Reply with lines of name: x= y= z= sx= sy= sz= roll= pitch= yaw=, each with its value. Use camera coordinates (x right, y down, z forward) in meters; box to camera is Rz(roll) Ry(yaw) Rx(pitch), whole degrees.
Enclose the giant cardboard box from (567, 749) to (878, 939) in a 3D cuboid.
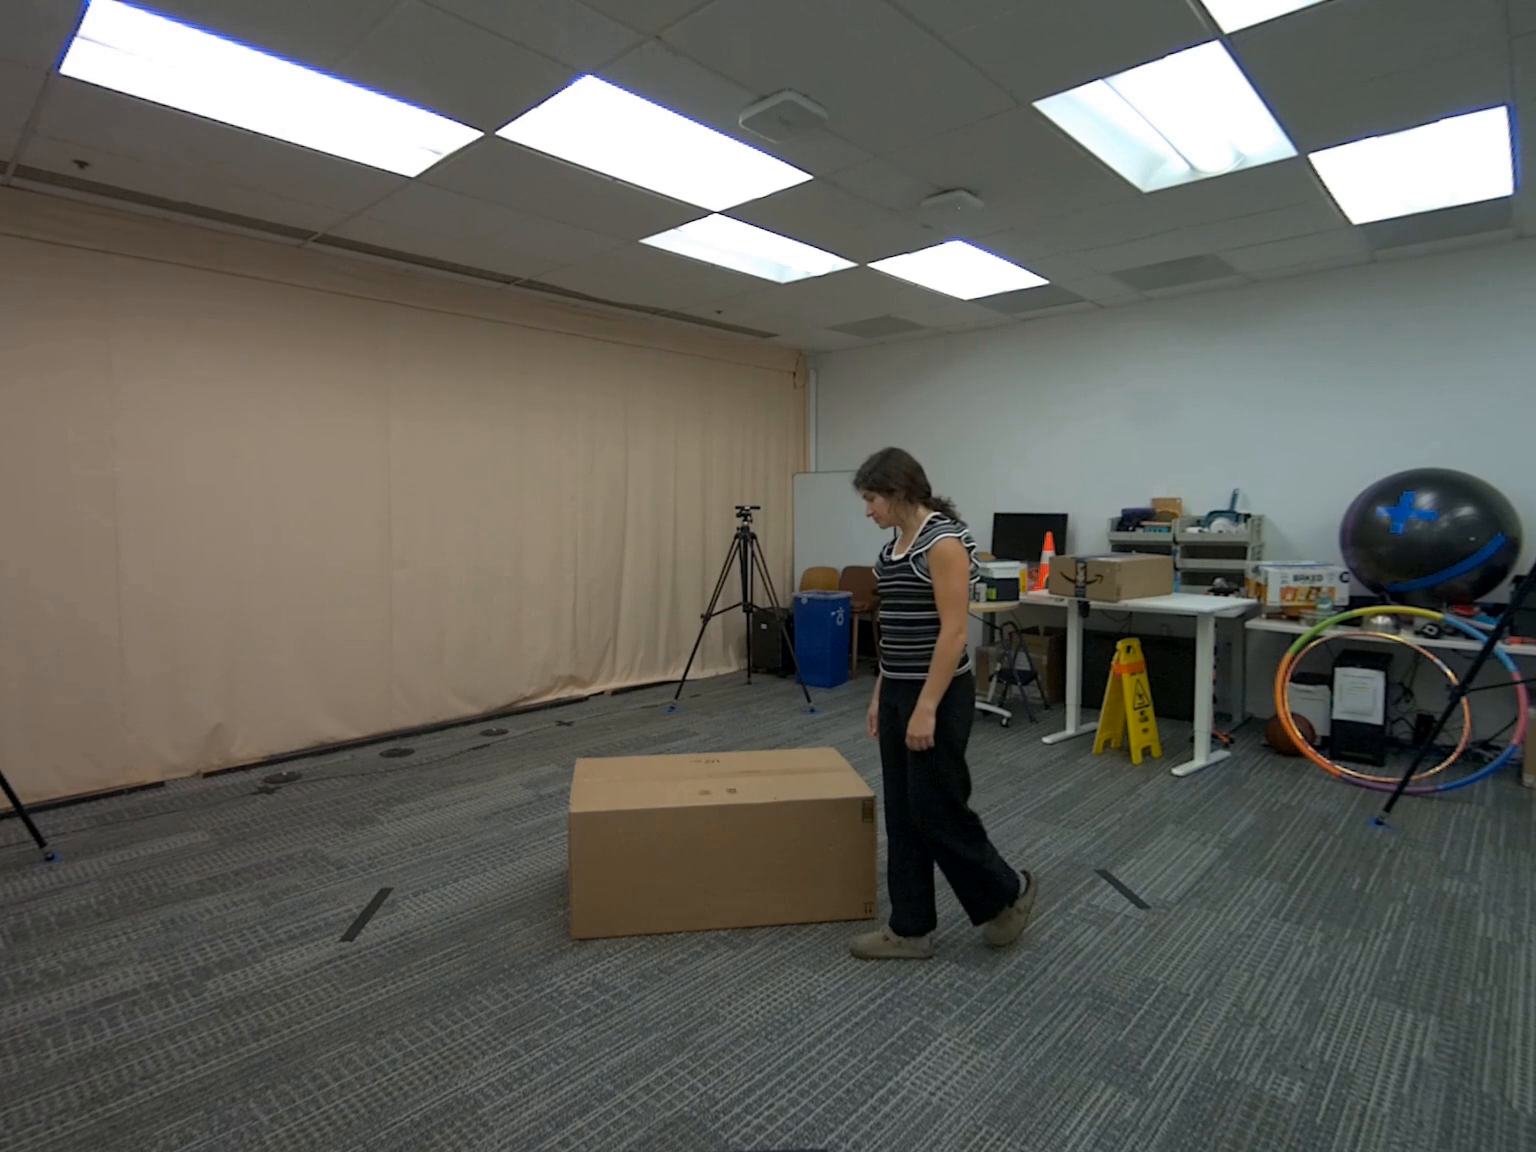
giant cardboard box: x=-0.188 y=0.928 z=3.039 sx=1.018 sy=0.425 sz=0.584 roll=-1 pitch=5 yaw=-8
